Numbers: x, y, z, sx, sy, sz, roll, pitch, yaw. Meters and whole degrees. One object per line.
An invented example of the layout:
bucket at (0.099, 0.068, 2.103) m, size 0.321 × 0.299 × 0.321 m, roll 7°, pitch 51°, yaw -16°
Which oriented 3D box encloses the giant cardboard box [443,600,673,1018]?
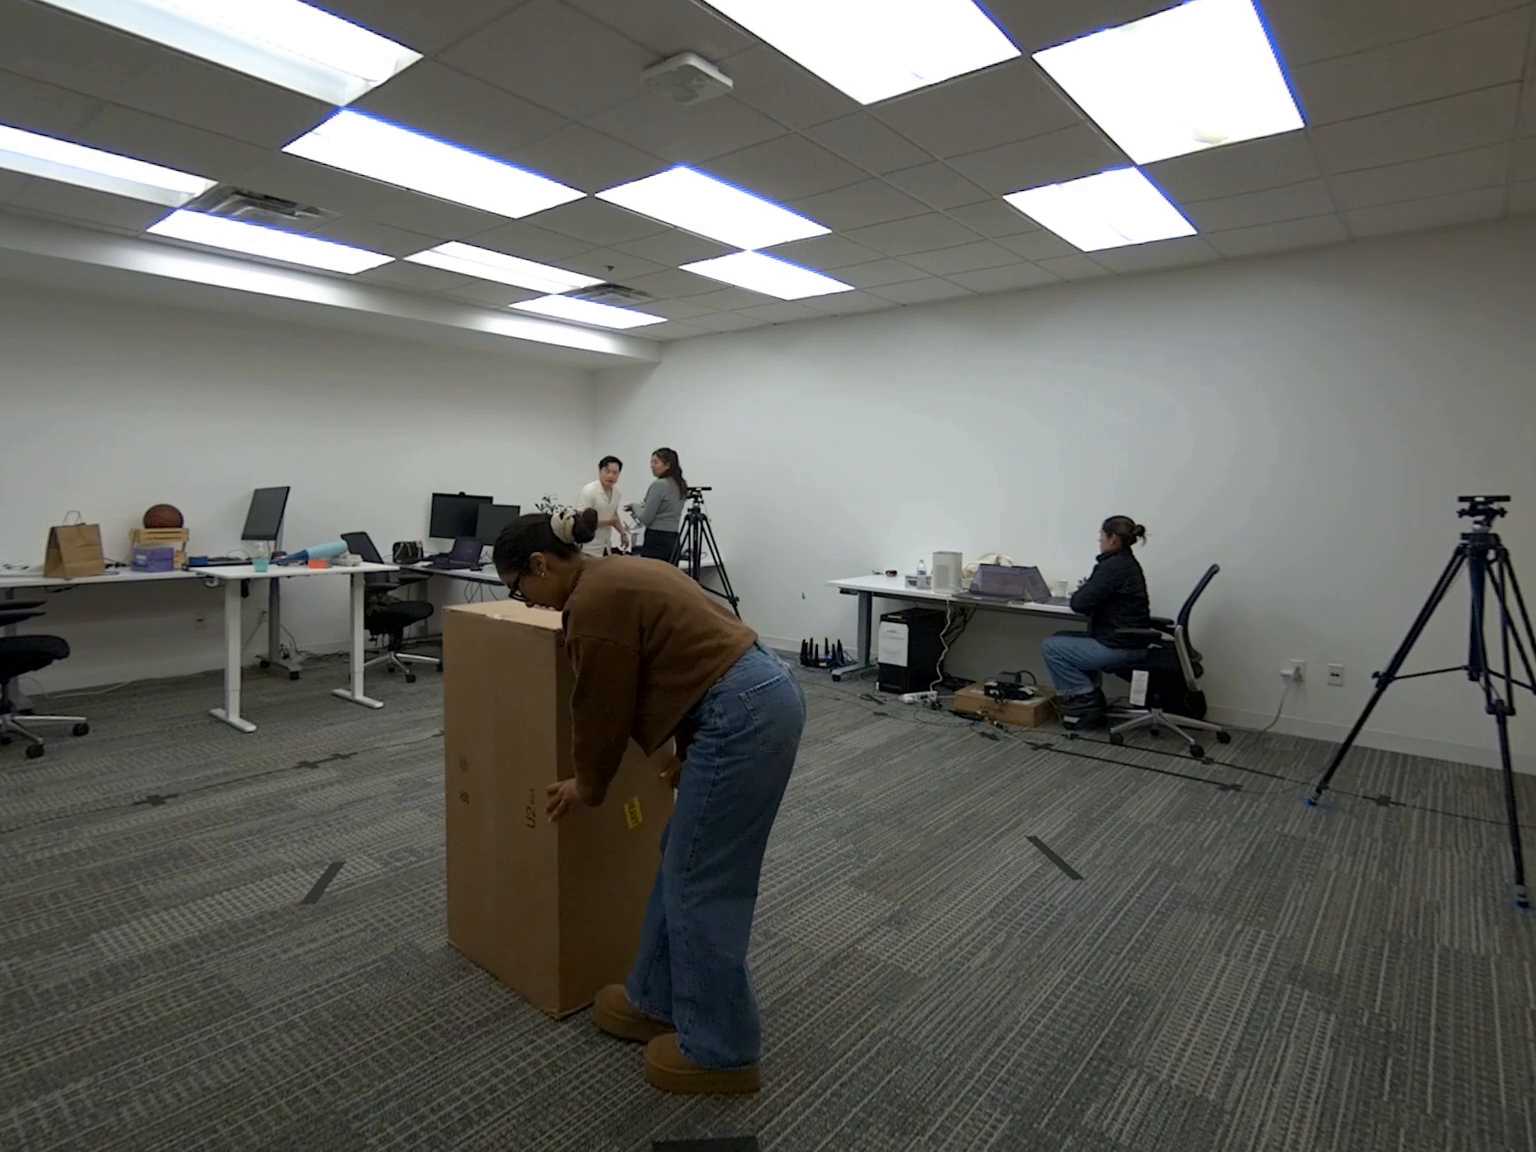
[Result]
giant cardboard box at (-0.634, 0.611, 2.522) m, size 0.596 × 1.024 × 0.413 m, roll 2°, pitch 3°, yaw 41°
